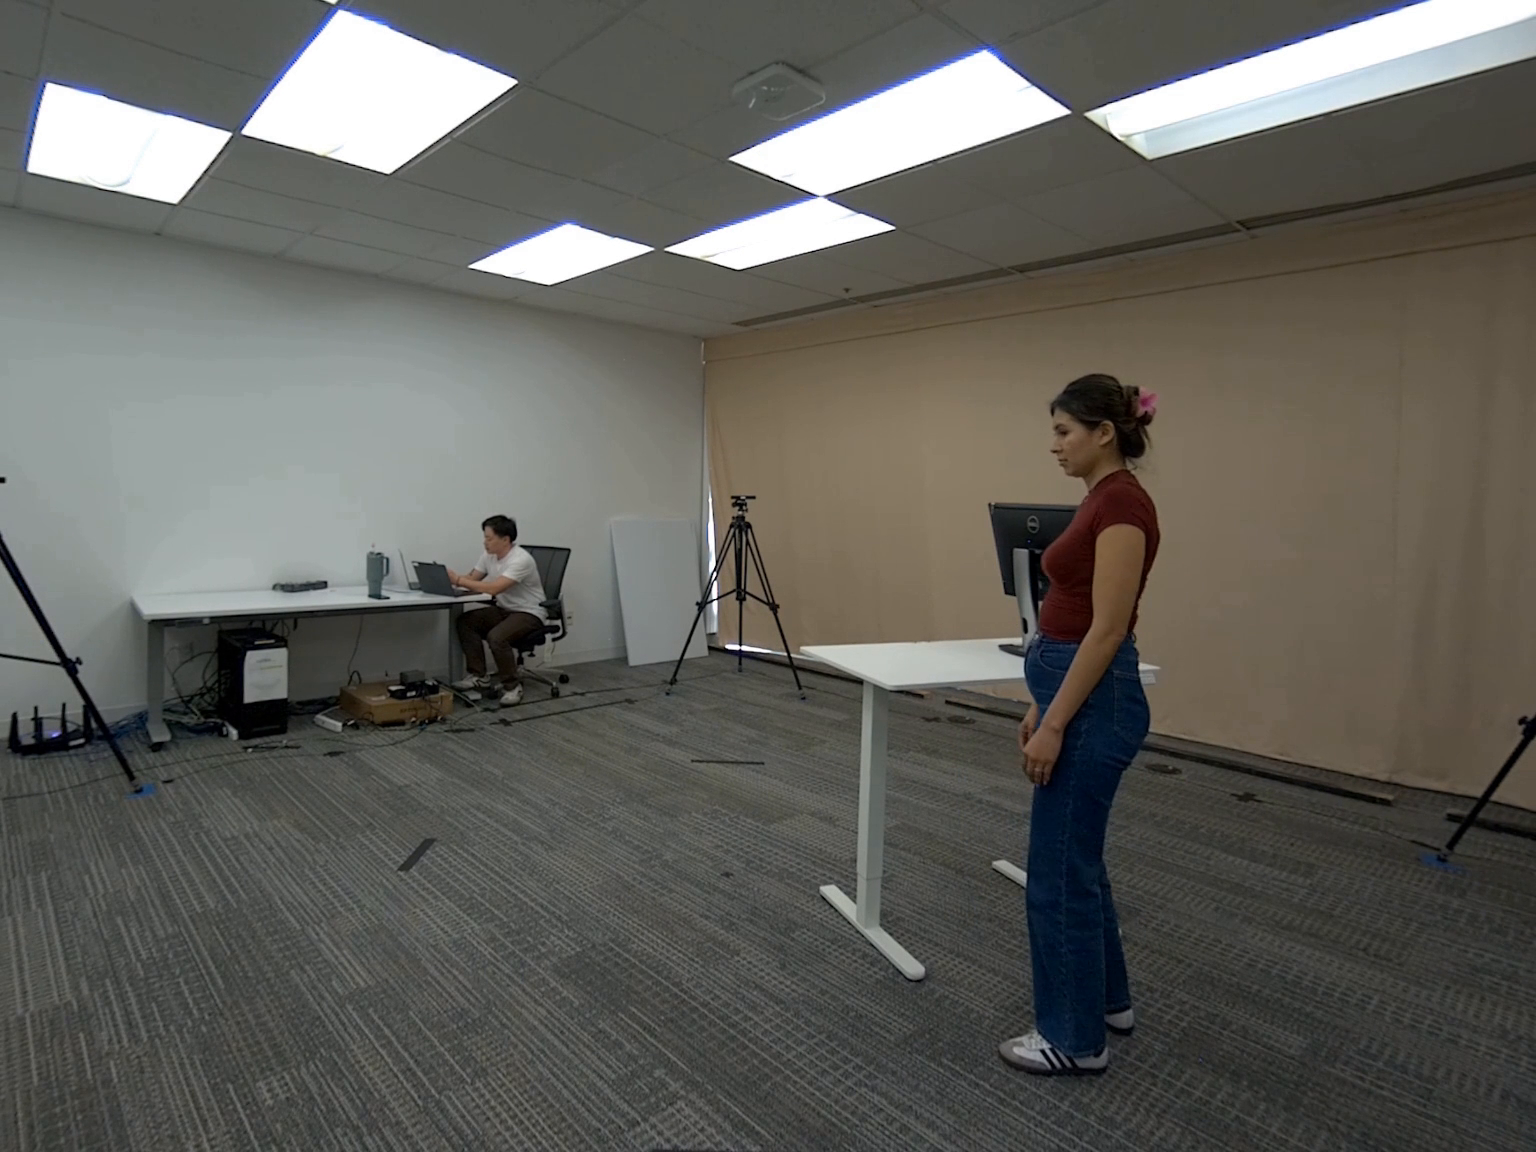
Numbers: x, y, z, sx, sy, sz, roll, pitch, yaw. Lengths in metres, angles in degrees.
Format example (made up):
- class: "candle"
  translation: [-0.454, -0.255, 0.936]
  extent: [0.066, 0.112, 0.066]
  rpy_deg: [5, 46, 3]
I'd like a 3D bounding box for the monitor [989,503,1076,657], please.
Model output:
- class: "monitor"
  translation: [0.918, 0.020, 2.853]
  extent: [0.184, 0.521, 0.549]
  rpy_deg: [-2, 6, -22]
